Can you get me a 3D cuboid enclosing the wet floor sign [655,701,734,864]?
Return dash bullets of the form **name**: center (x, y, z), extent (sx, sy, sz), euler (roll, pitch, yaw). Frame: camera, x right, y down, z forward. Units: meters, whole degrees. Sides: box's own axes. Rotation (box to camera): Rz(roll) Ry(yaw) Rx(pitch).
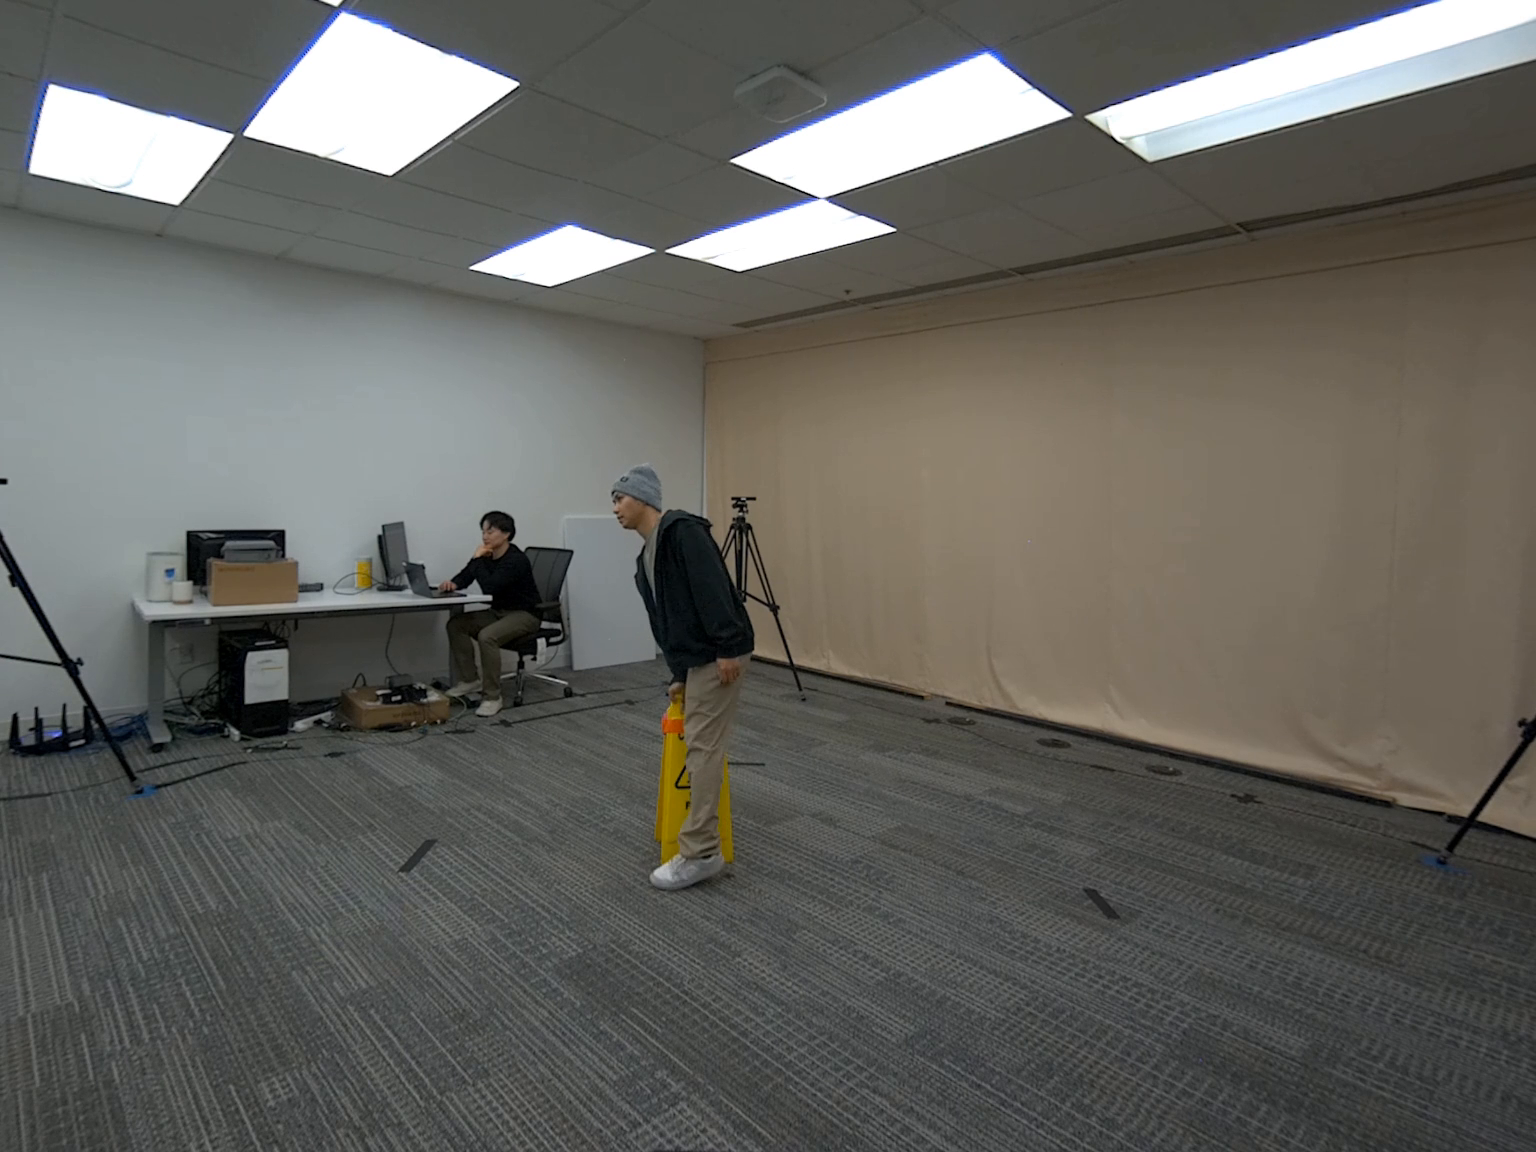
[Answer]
- **wet floor sign**: center (-0.303, 0.764, 3.306), extent (0.280, 0.644, 0.293), euler (0, 3, -11)
